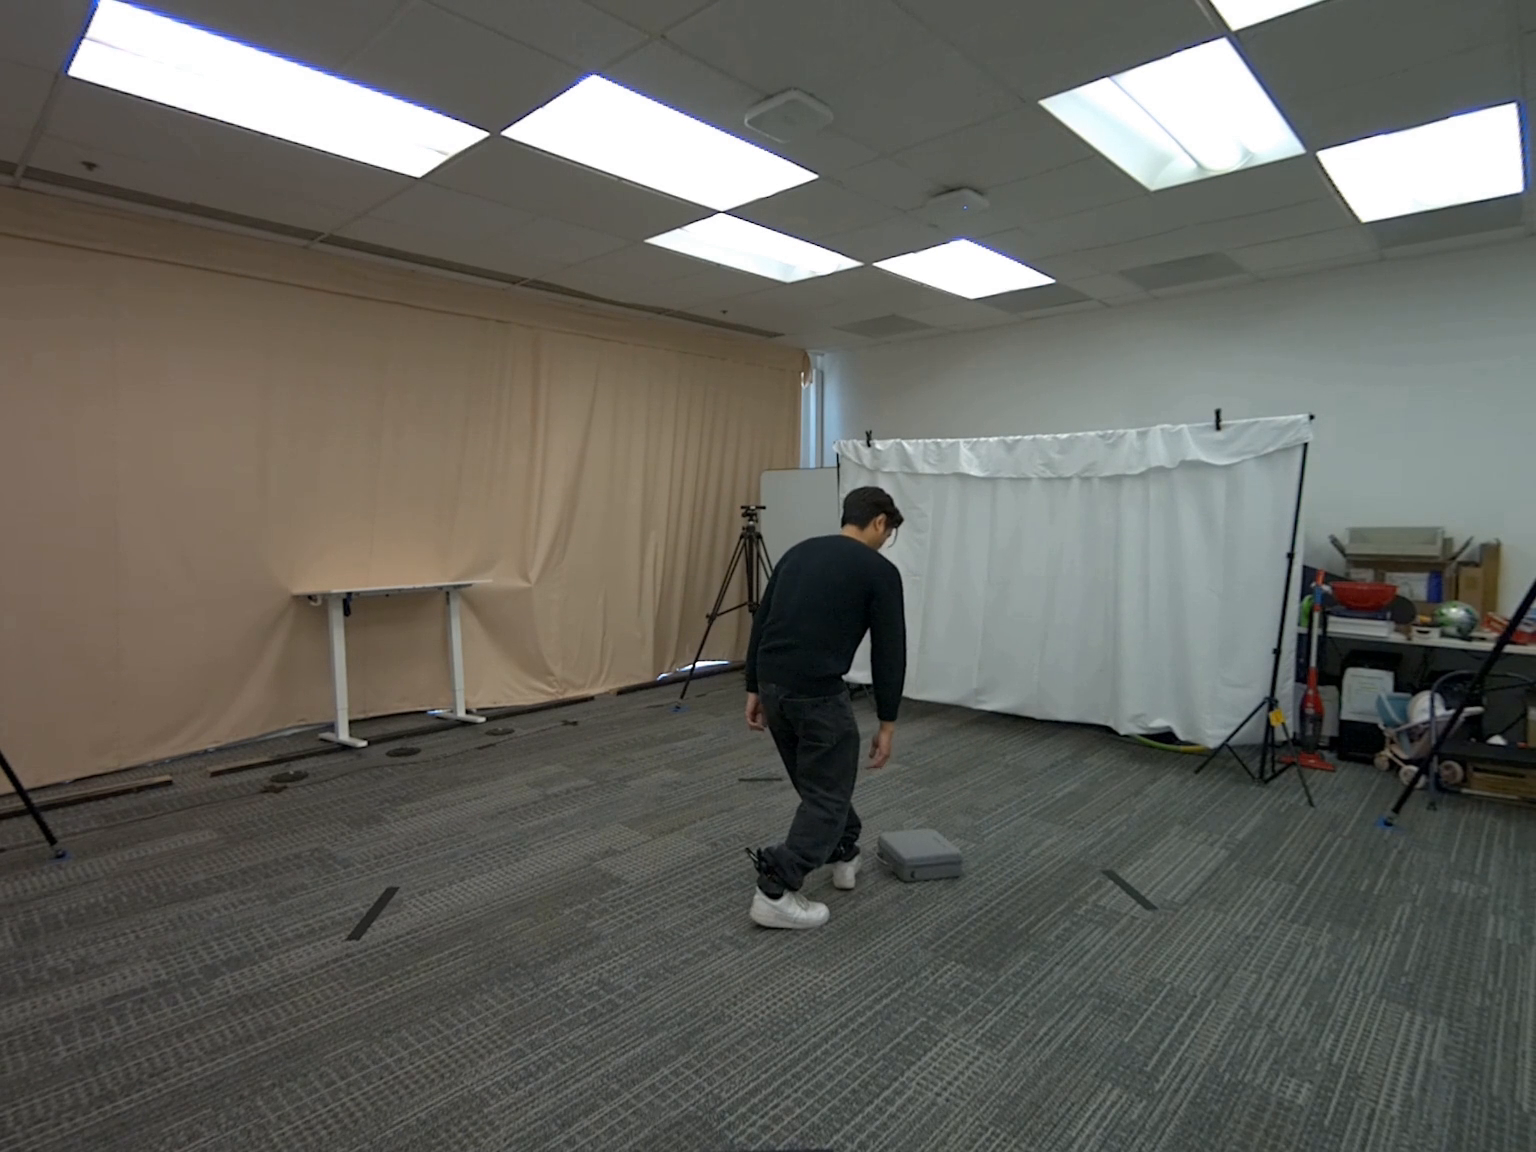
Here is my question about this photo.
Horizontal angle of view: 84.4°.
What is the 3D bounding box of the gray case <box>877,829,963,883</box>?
[{"bbox_3d":[0.574,1.063,3.231,0.257,0.104,0.261,-2,6,-13],"label":"gray case"}]
